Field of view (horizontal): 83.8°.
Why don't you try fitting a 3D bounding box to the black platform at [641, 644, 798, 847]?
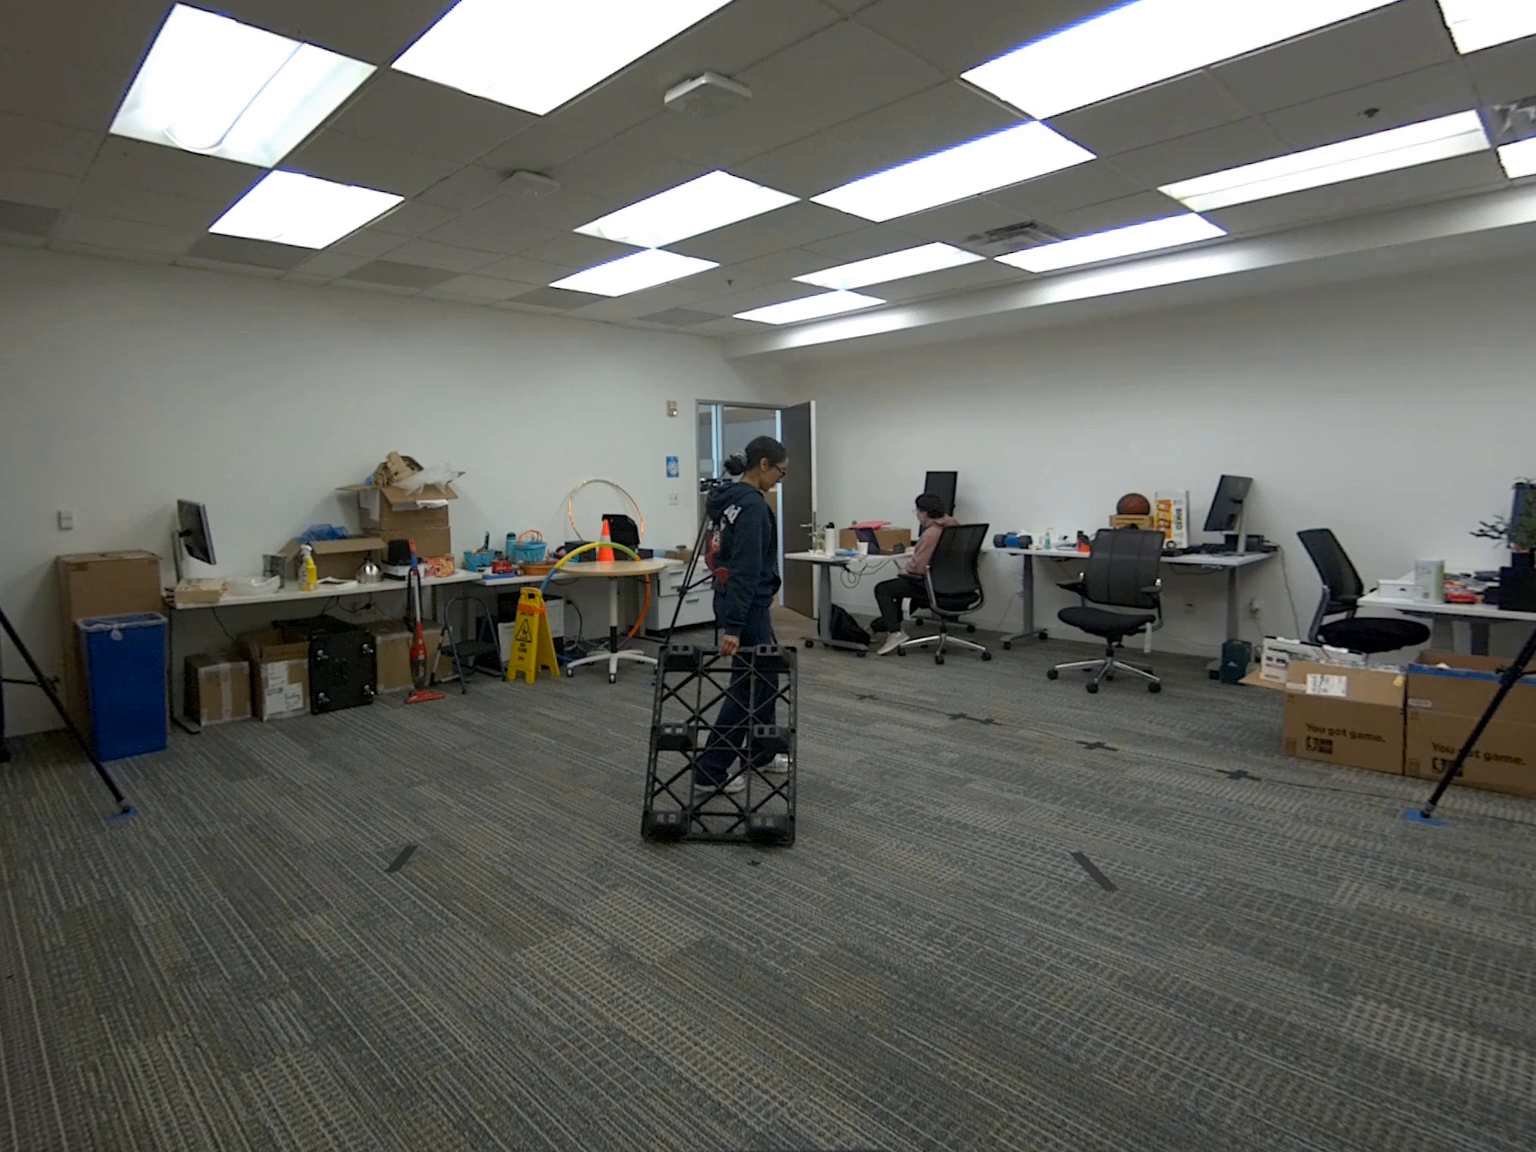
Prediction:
[{"bbox_3d":[-0.177,0.641,3.433,0.609,0.823,0.139,-1,-30,7],"label":"black platform"}]
